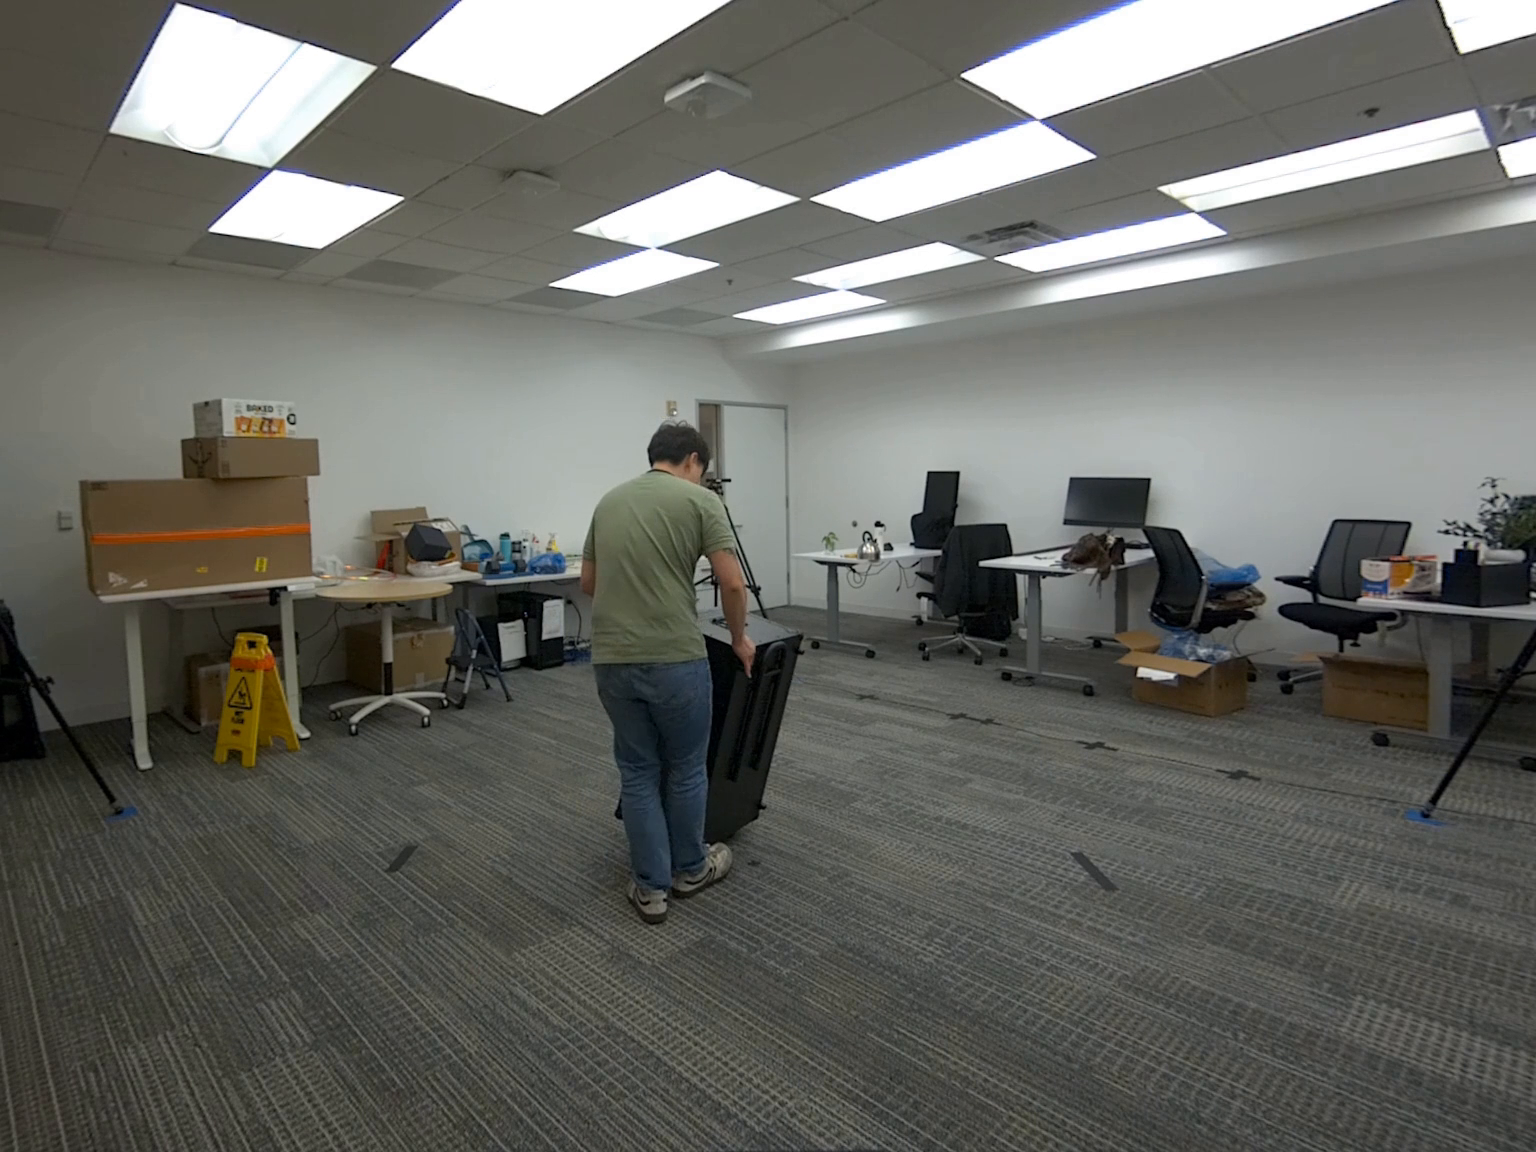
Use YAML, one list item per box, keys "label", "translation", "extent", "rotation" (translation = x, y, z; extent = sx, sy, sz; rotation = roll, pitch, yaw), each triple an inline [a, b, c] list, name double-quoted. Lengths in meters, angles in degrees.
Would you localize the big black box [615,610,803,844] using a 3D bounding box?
- label: "big black box"
  translation: [-0.207, 0.593, 3.227]
  extent: [0.408, 0.856, 0.509]
  rotation: [19, 11, 27]
